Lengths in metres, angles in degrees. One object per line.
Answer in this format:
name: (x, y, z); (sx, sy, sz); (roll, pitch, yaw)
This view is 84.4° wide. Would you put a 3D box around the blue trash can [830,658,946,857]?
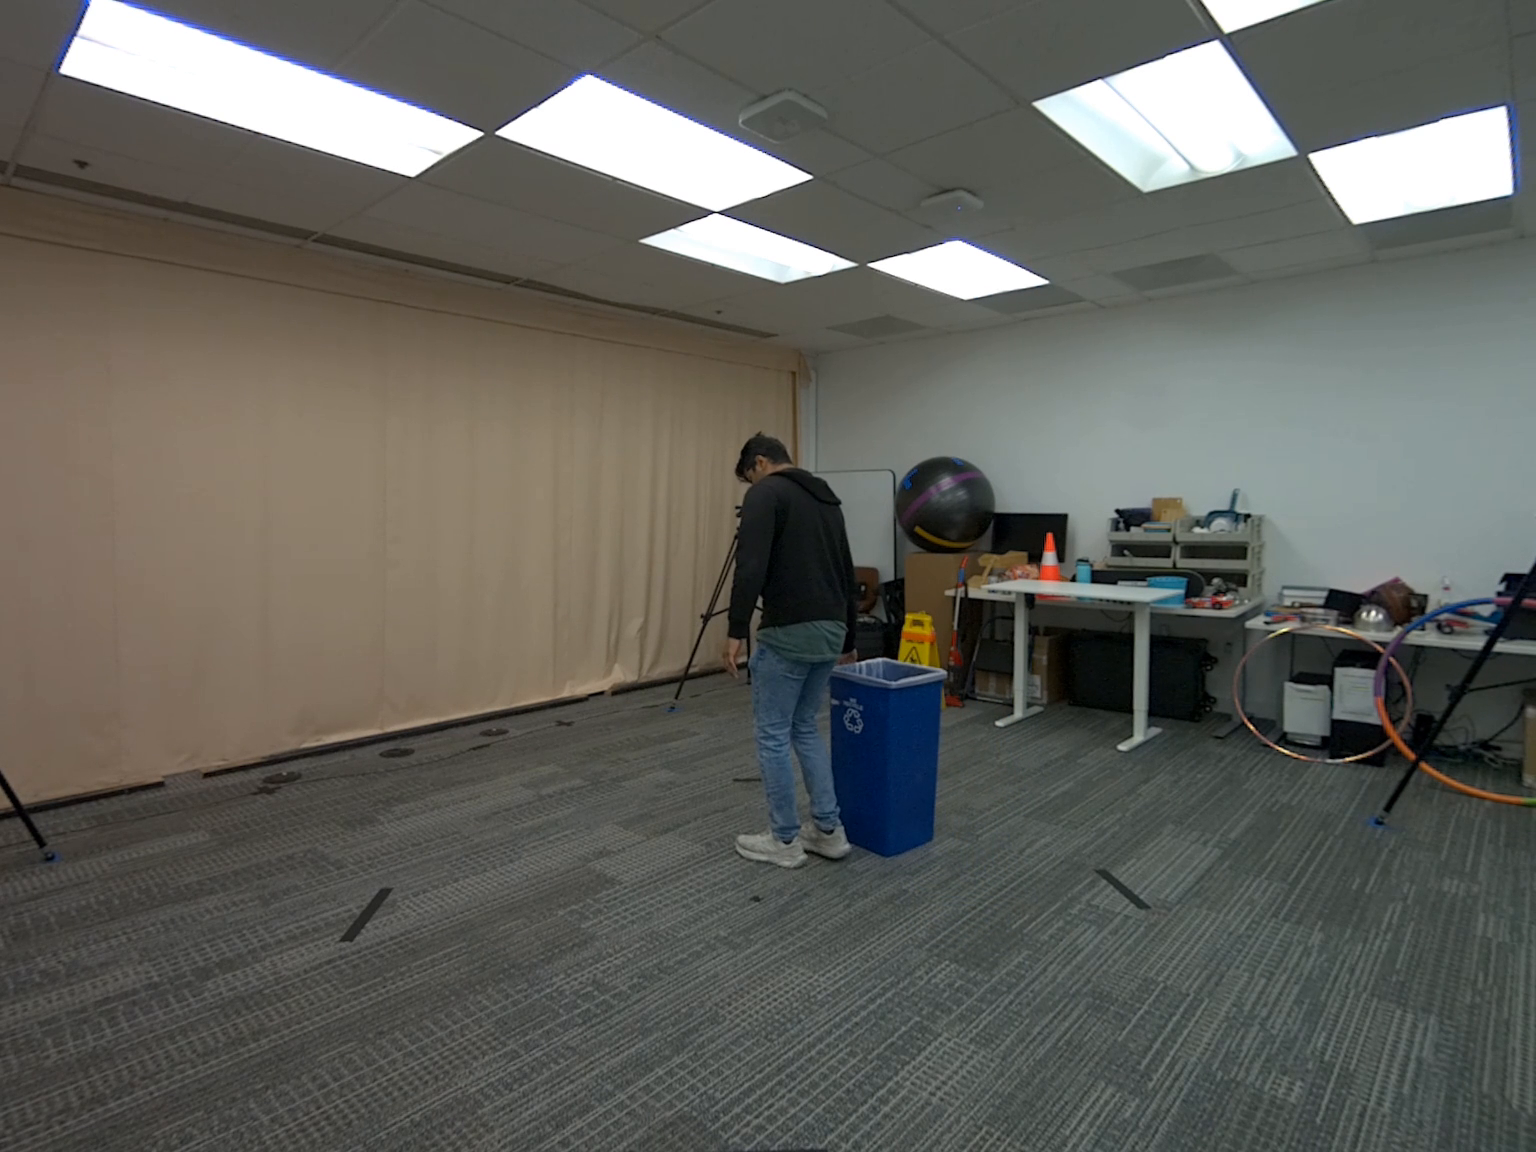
blue trash can: (0.488, 0.740, 3.502); (0.362, 0.712, 0.391); (-2, 5, -41)
